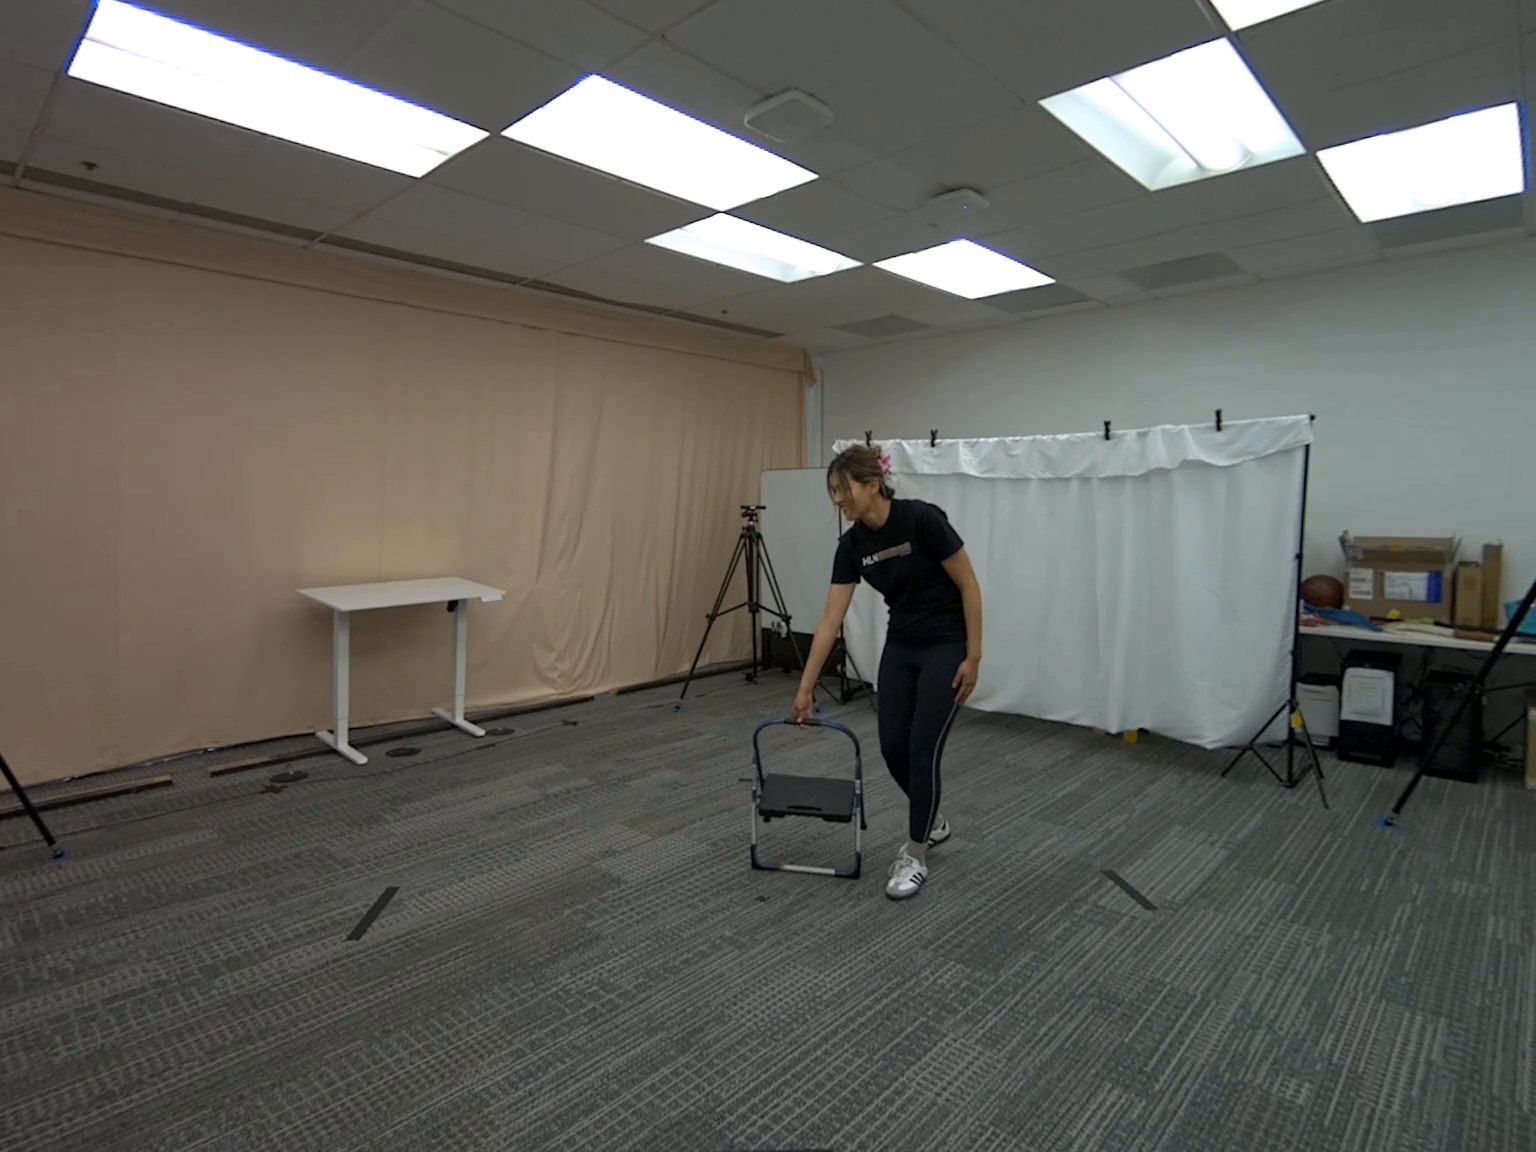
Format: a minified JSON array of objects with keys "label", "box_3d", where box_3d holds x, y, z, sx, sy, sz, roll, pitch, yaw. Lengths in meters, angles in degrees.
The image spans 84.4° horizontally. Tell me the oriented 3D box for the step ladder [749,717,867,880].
[{"label":"step ladder","box_3d":[0.153,0.793,3.255,0.436,0.599,0.349,1,17,11]}]
